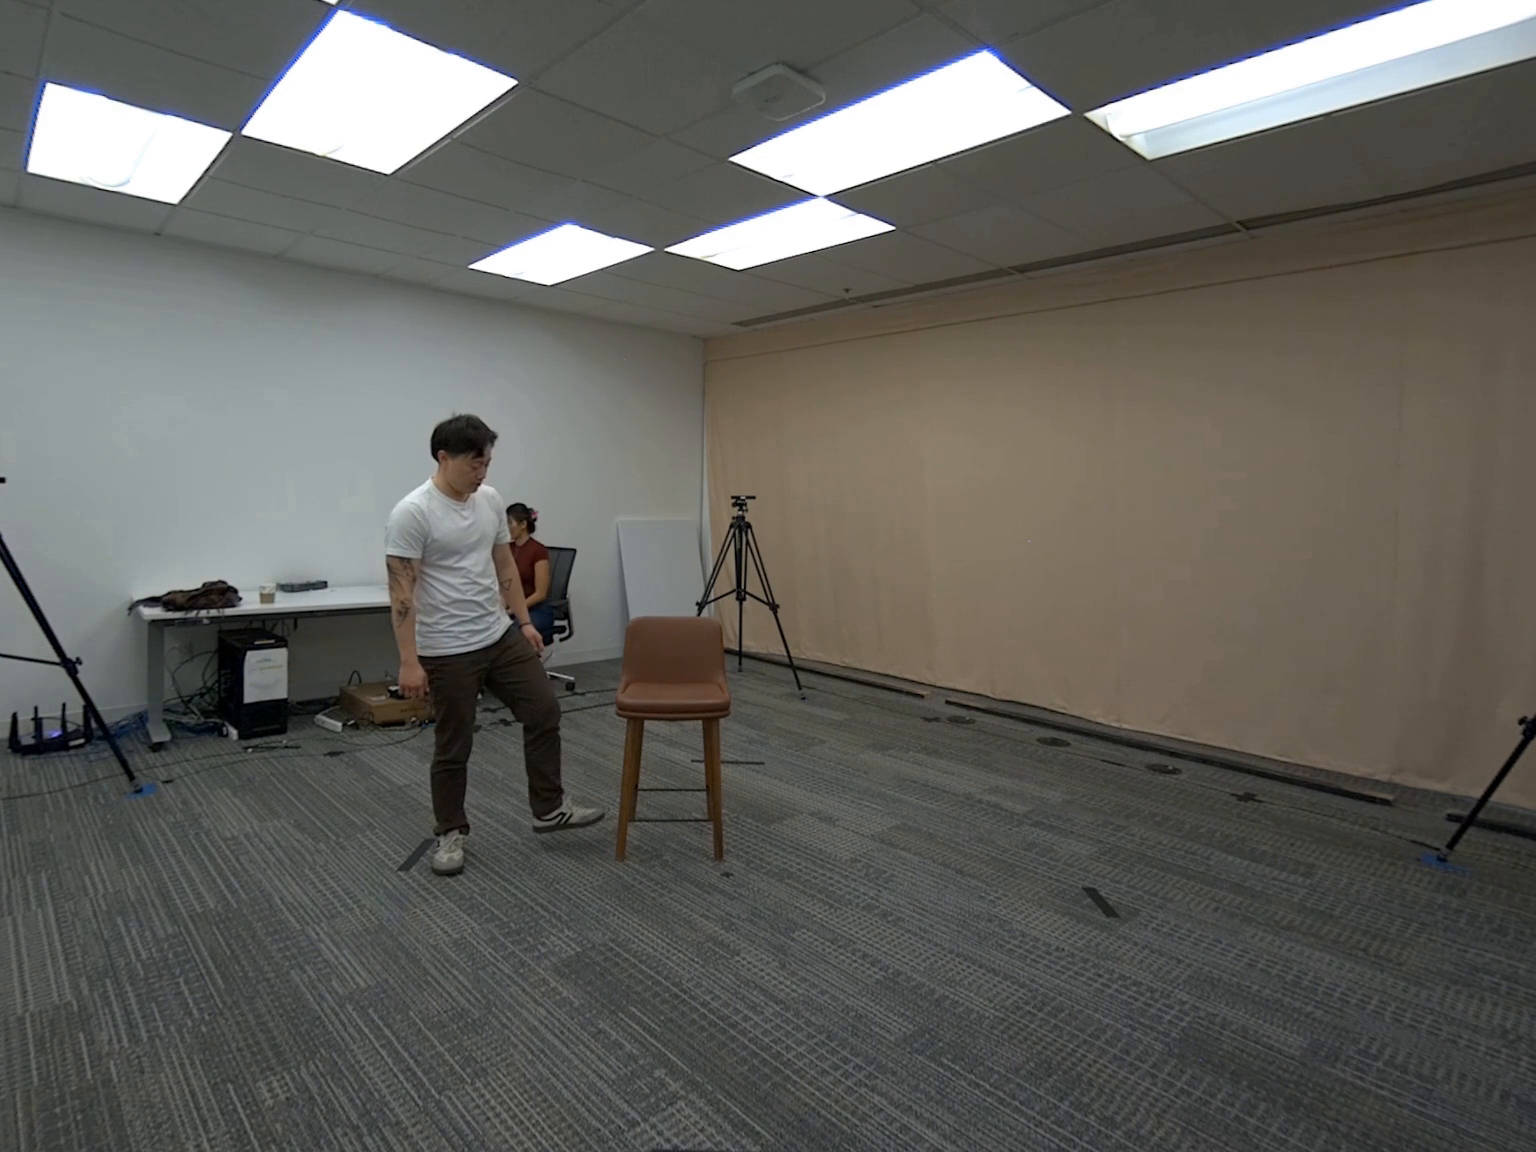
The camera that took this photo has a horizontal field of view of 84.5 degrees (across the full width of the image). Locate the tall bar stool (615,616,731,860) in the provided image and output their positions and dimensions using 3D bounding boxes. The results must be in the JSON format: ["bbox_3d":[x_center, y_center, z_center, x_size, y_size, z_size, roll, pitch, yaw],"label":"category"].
[{"bbox_3d":[-0.390,0.635,3.415,0.455,0.889,0.470,1,2,-5],"label":"tall bar stool"}]
